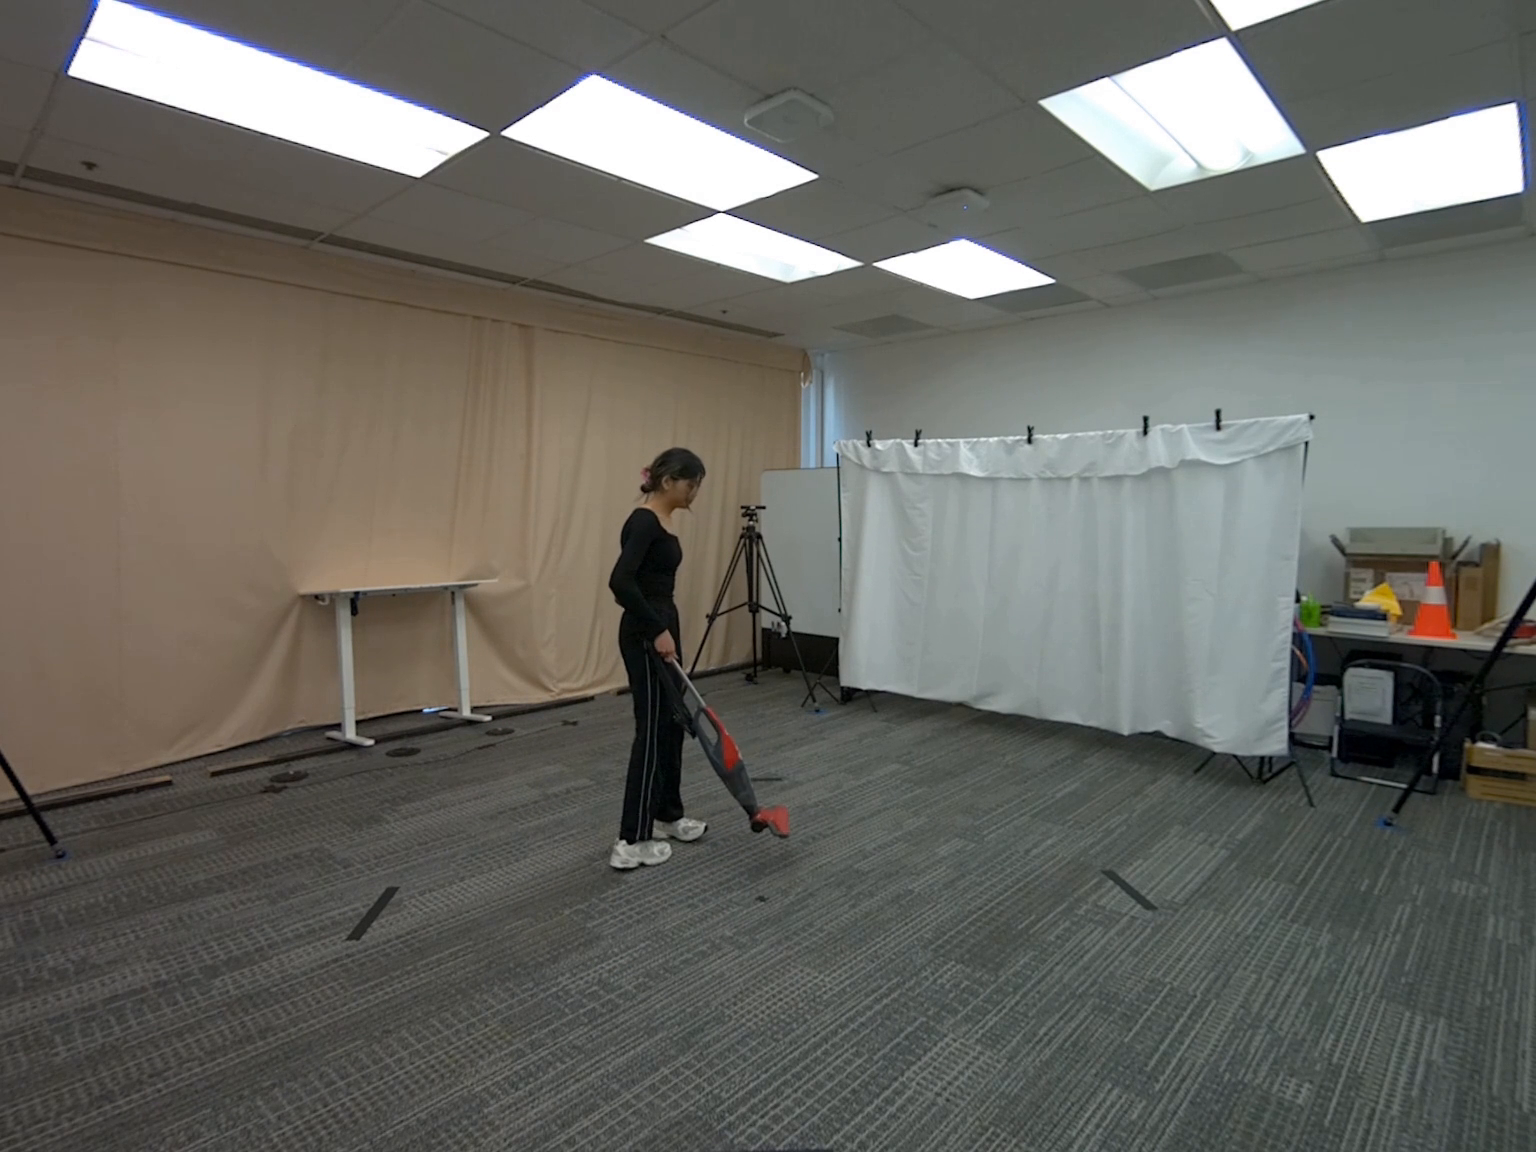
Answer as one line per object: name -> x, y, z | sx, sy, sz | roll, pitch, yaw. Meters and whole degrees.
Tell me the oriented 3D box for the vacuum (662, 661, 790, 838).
vacuum -> -0.268, 0.531, 3.229 | 0.144, 1.047, 0.252 | -33, 2, 5
